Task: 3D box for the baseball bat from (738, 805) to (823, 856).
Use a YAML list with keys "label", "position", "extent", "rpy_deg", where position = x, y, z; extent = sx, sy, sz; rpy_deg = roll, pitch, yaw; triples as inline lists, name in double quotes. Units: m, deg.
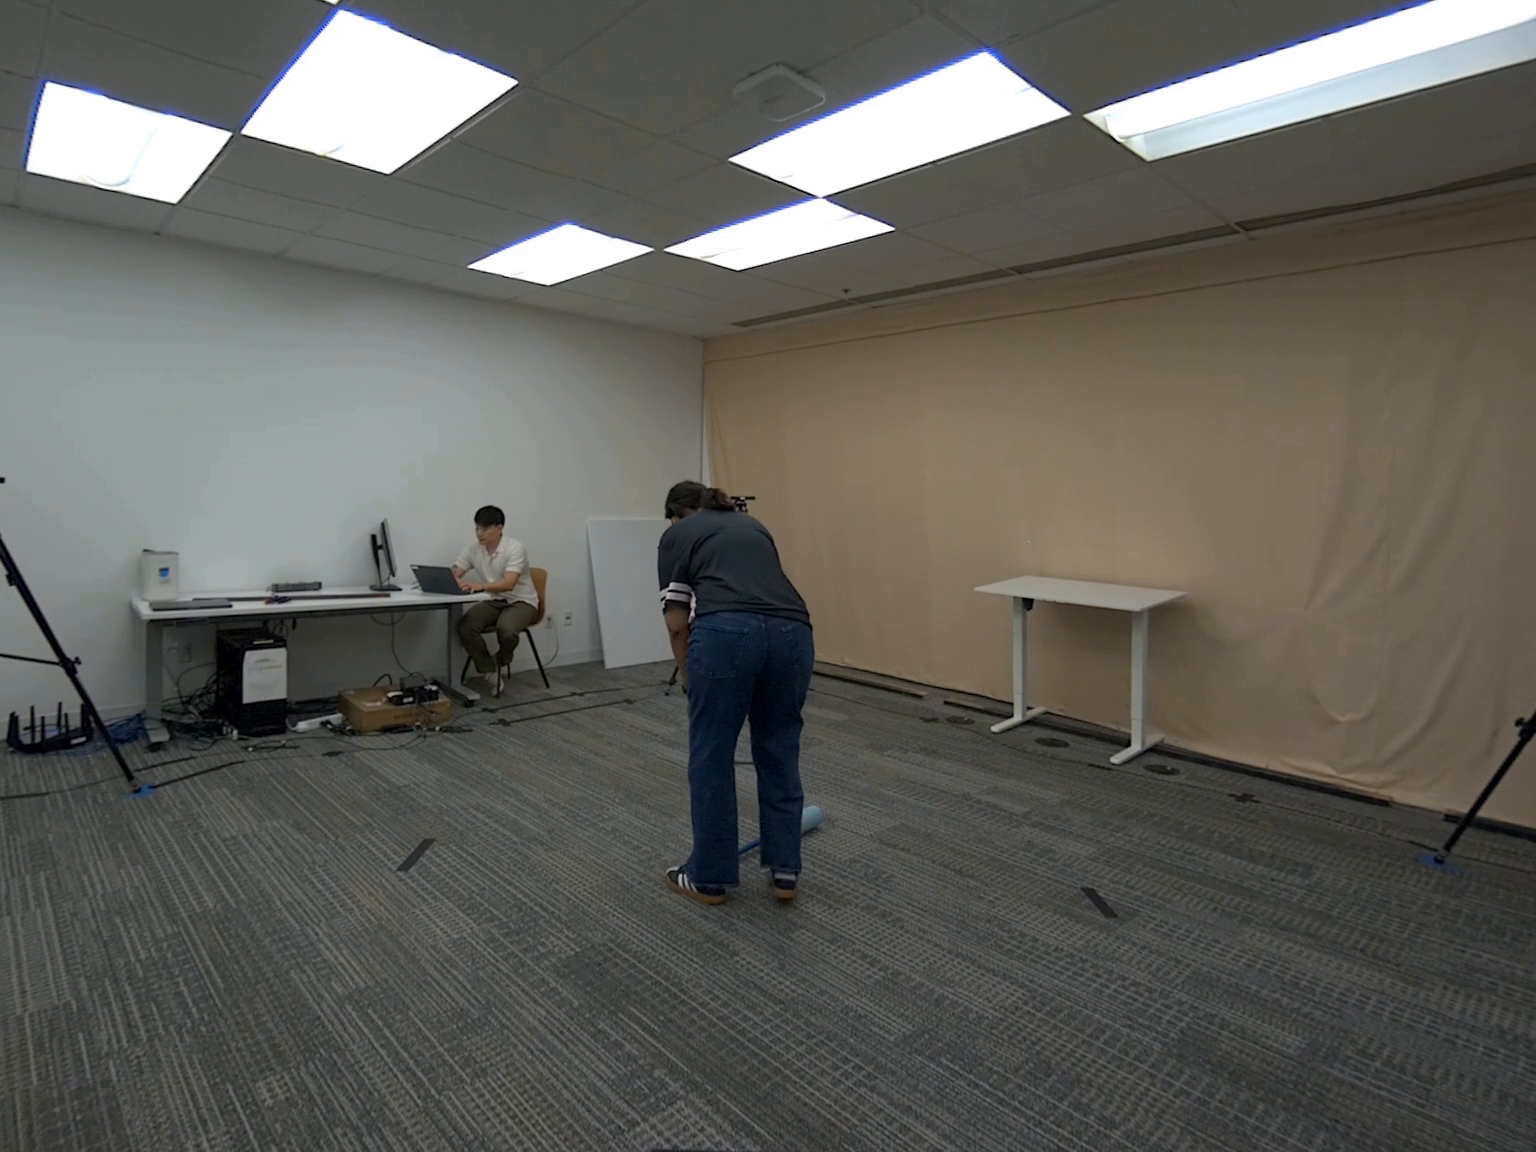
- label: "baseball bat"
  position: [0.021, 1.050, 3.401]
  extent: [0.091, 0.088, 0.531]
  rpy_deg: [5, 9, 43]
